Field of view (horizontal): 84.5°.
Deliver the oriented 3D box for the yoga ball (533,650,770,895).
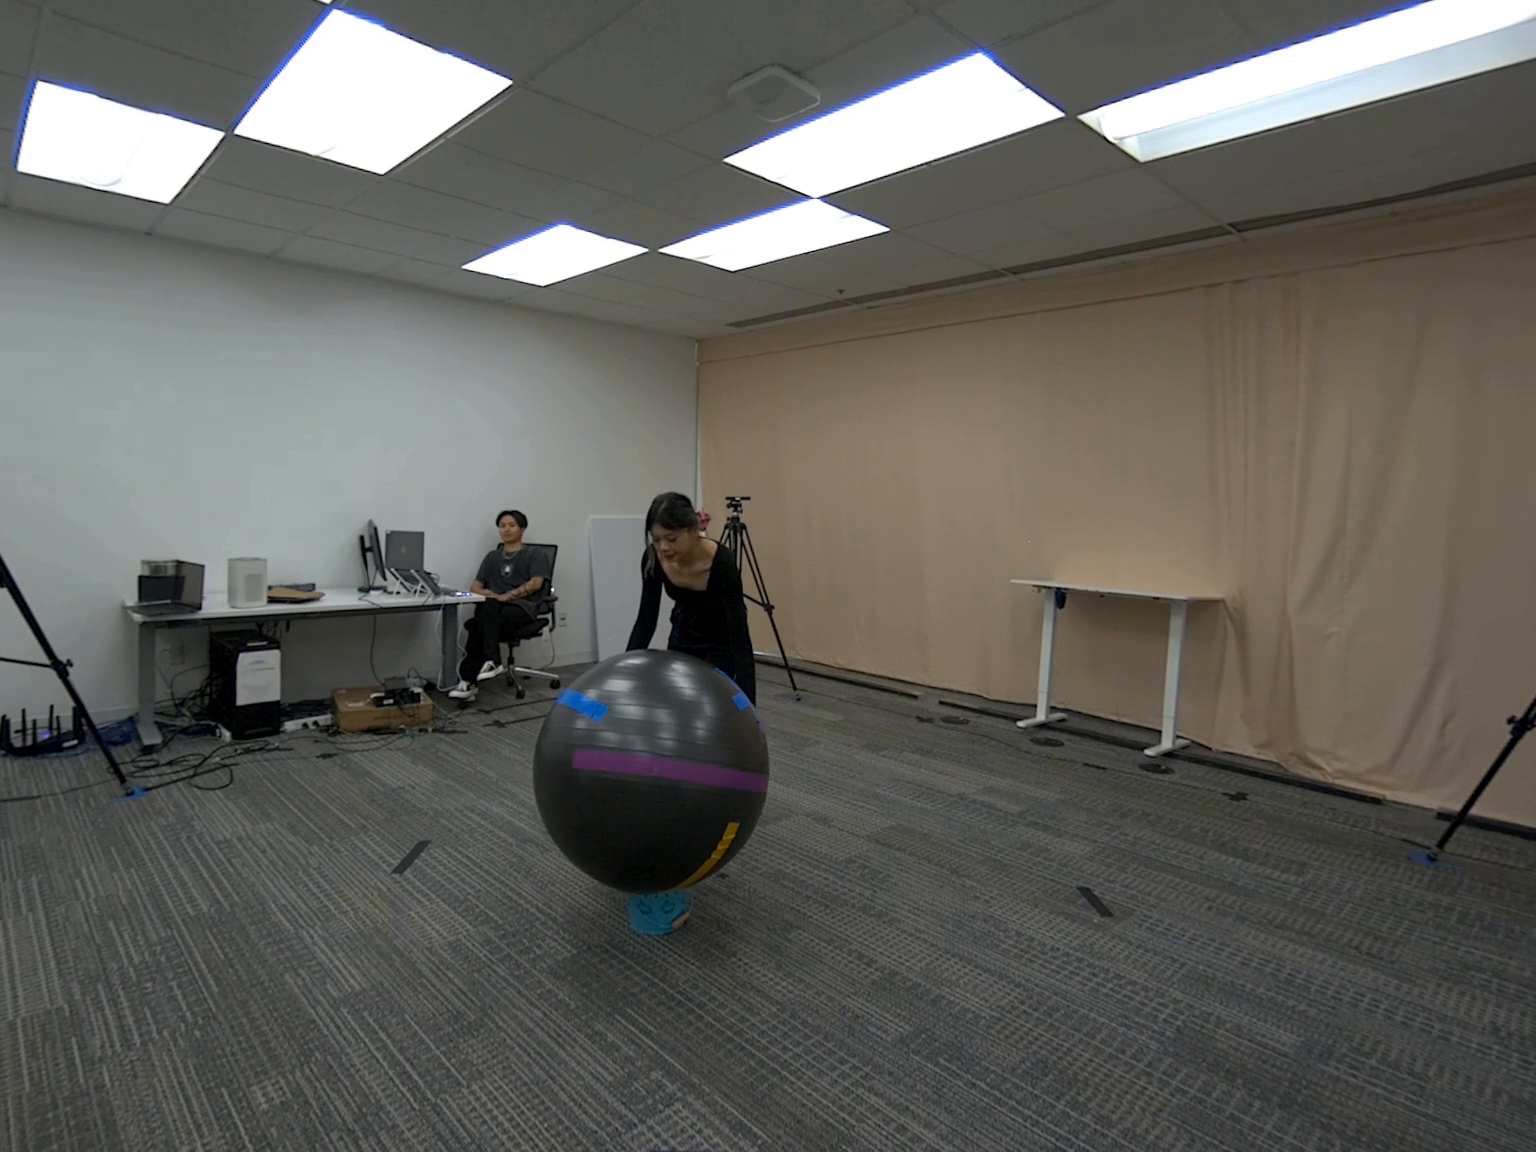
[{"bbox_3d":[-0.382,0.623,2.718,0.757,0.756,0.761,1,4,-1],"label":"yoga ball"}]
